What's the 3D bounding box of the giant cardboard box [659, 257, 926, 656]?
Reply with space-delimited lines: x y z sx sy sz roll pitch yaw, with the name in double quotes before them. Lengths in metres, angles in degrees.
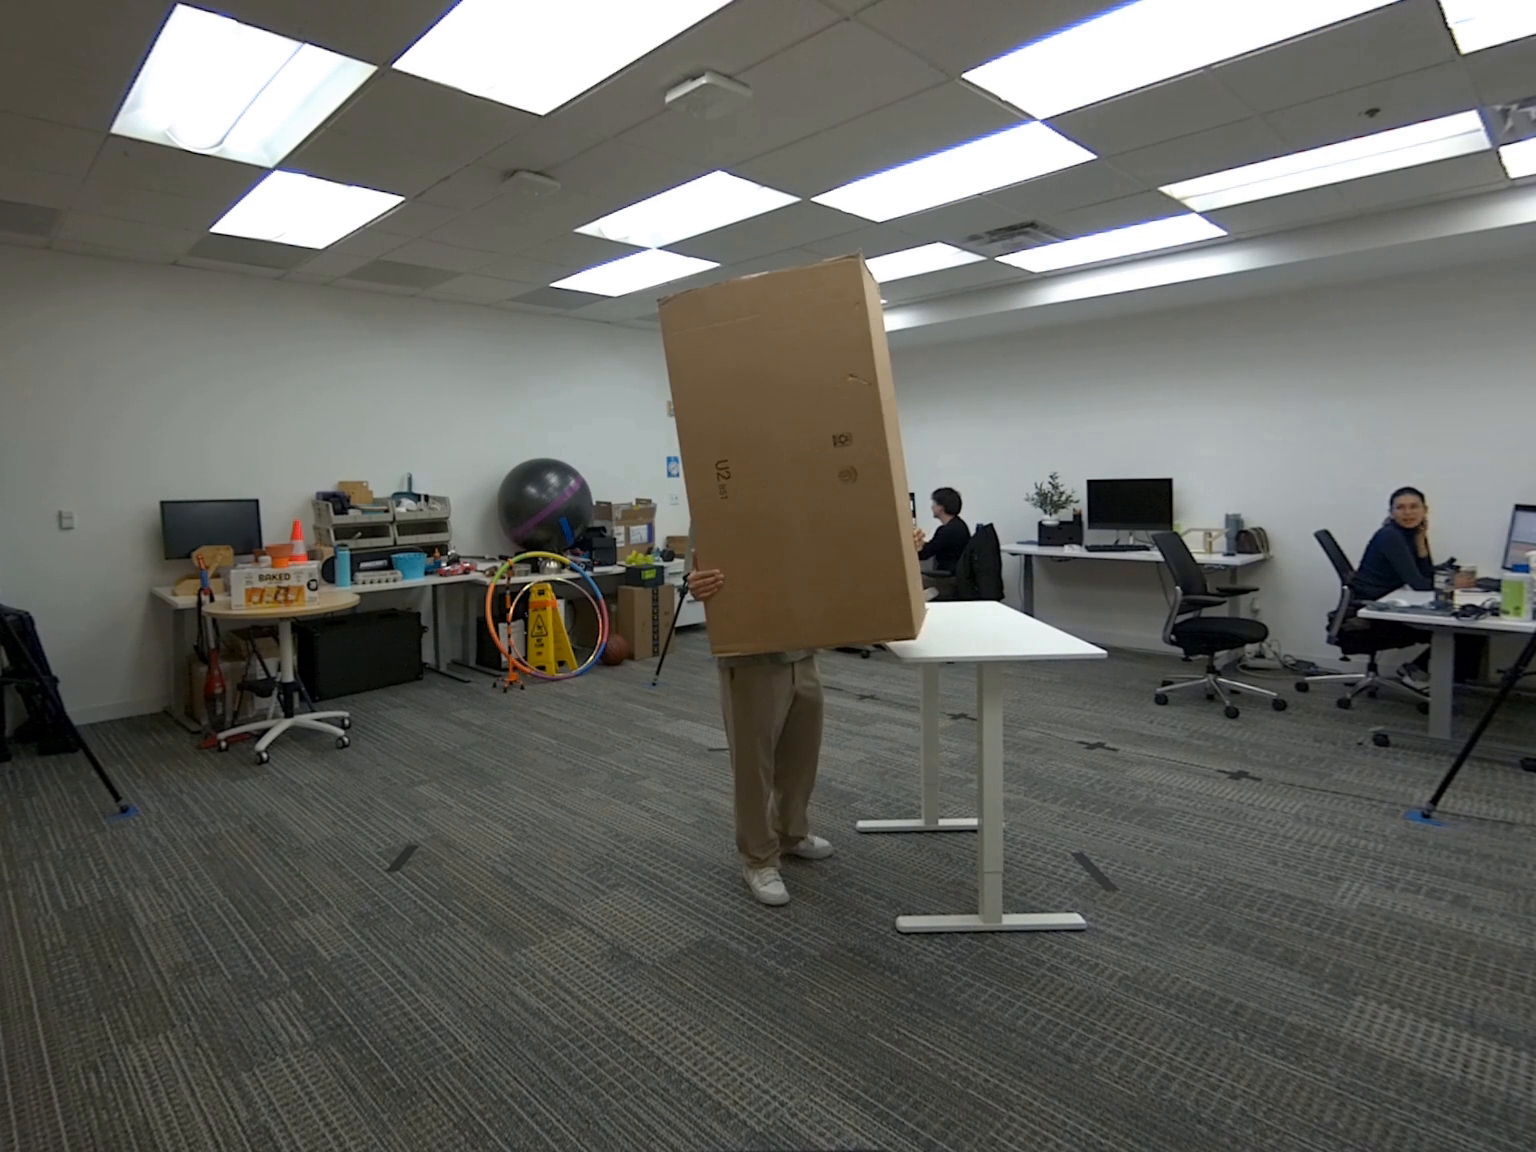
"giant cardboard box" 0.092 -0.327 2.506 0.586 1.023 0.421 -8 3 17
